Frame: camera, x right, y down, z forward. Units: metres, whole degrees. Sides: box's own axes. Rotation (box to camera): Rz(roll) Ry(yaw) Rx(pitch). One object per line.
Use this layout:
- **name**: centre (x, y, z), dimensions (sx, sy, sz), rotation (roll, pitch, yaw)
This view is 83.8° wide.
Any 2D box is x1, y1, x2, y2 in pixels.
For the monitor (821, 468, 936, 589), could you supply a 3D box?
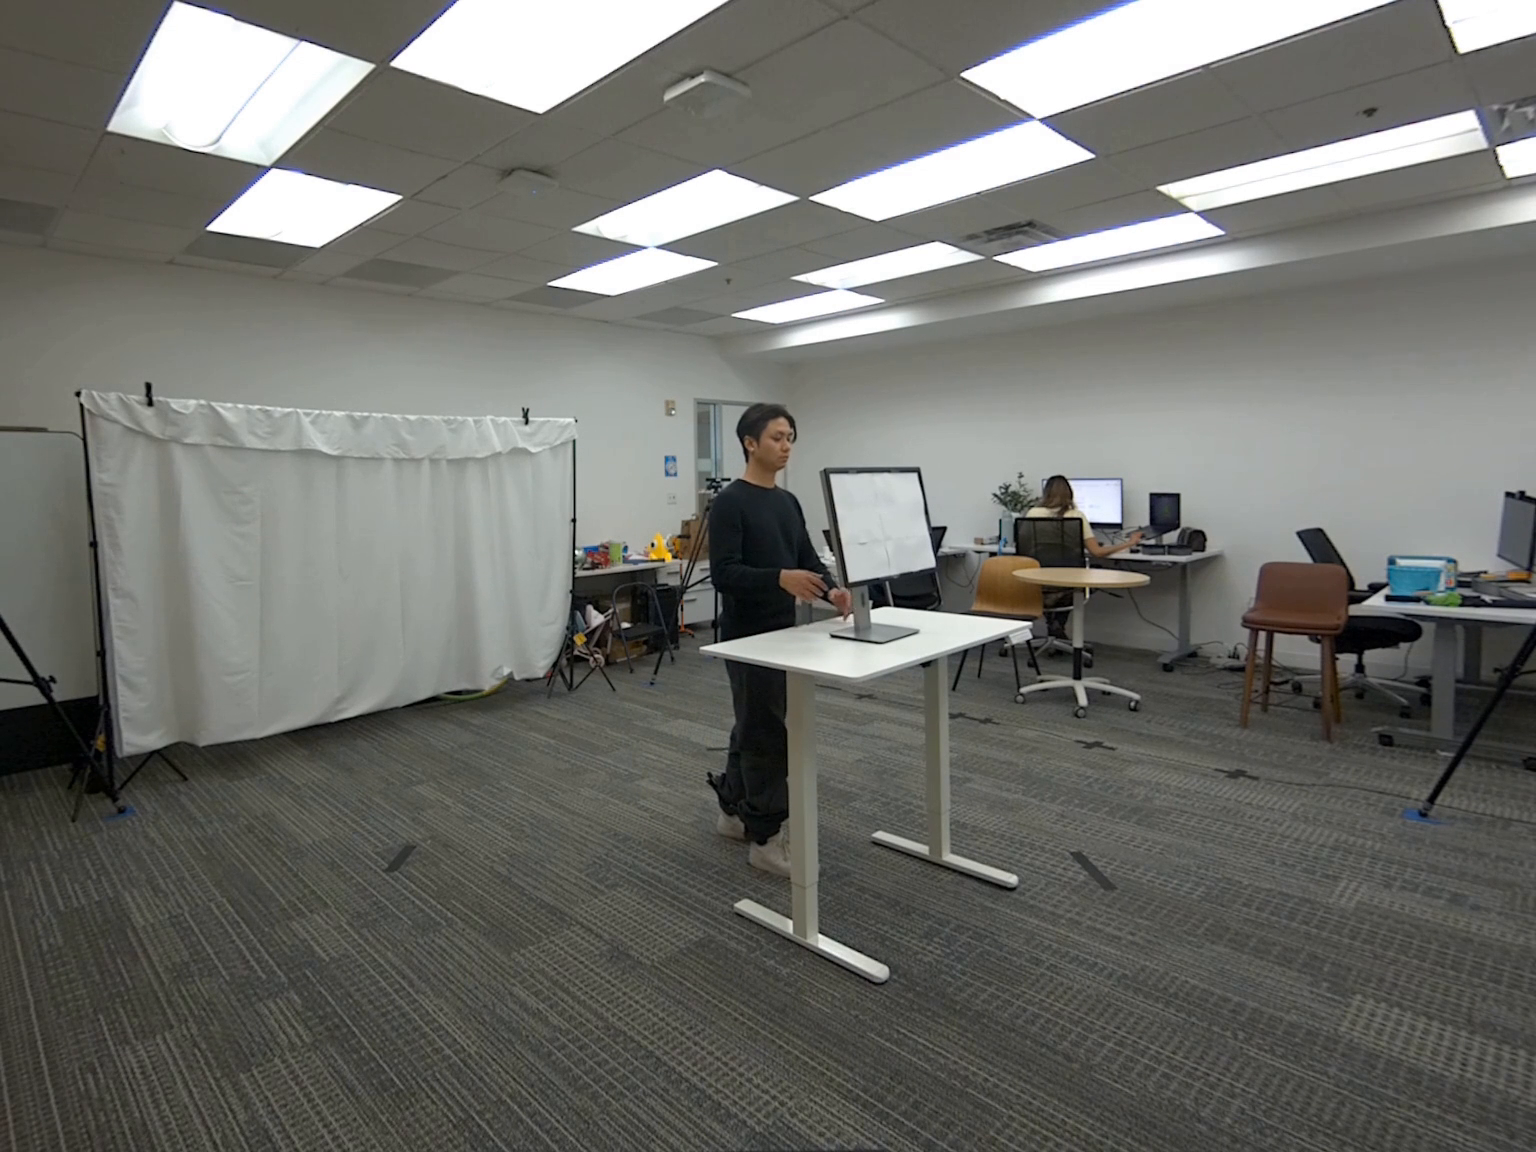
- **monitor**: centre (0.346, -0.078, 2.749), dimensions (0.180, 0.513, 0.516), rotation (11, 9, 38)
